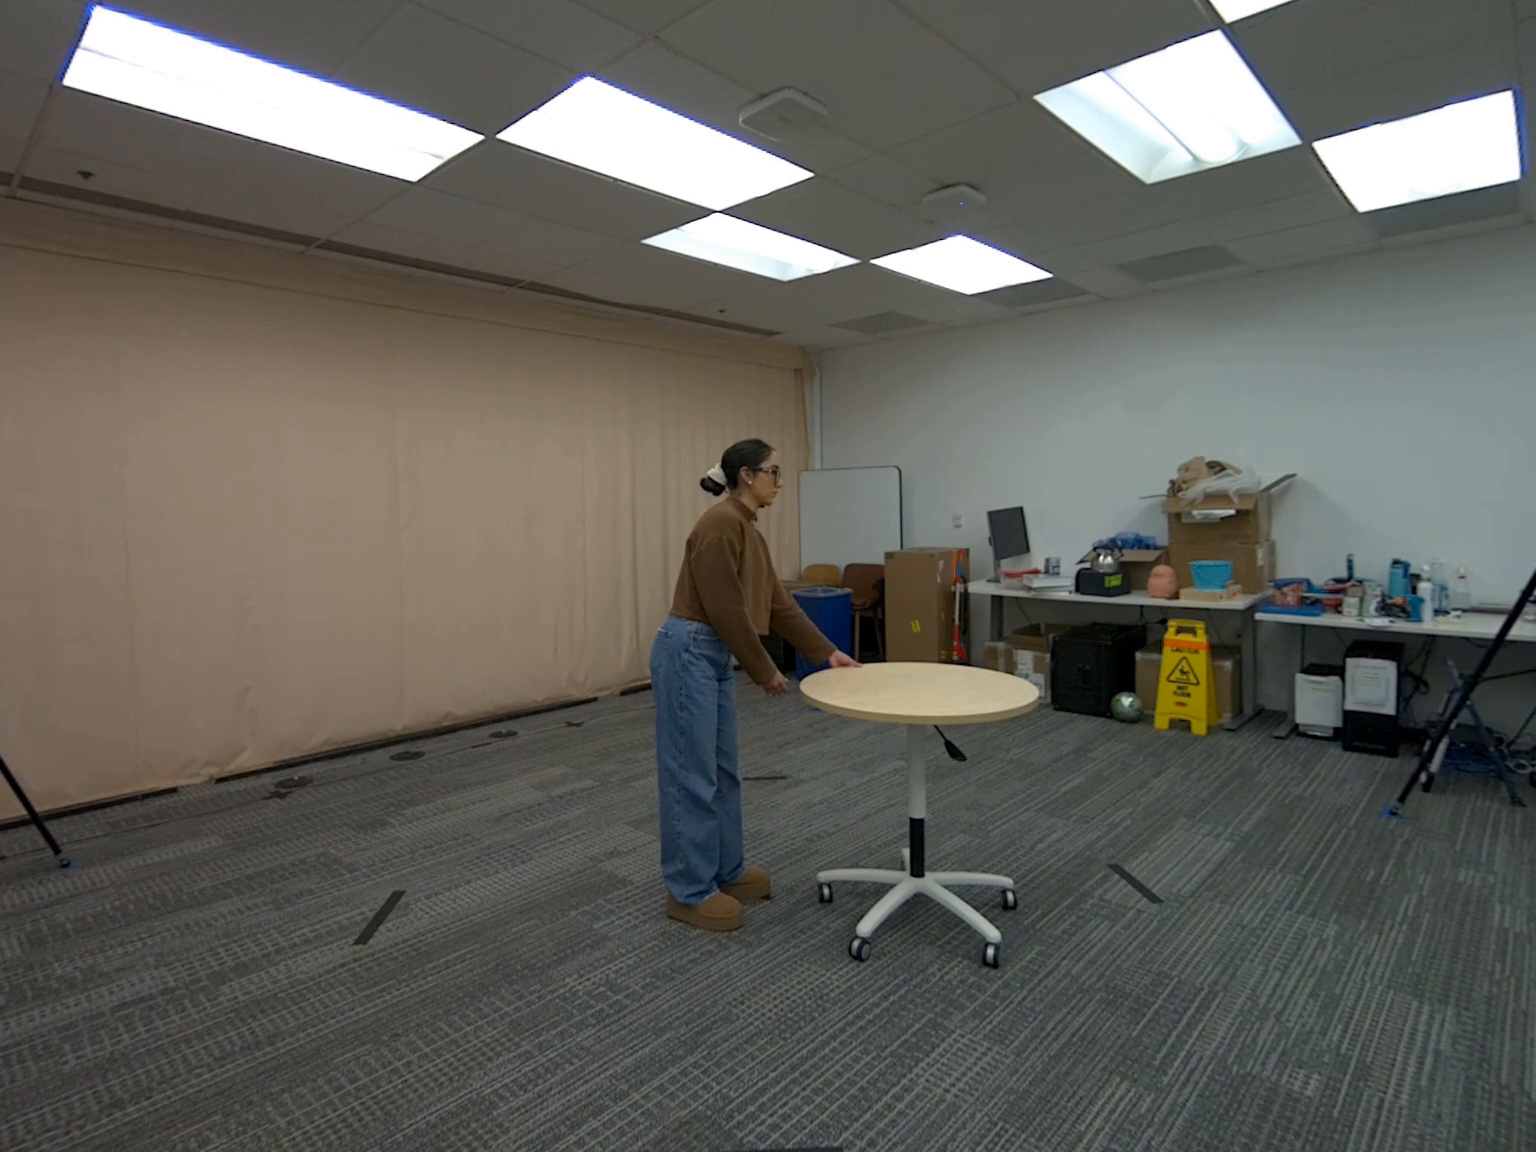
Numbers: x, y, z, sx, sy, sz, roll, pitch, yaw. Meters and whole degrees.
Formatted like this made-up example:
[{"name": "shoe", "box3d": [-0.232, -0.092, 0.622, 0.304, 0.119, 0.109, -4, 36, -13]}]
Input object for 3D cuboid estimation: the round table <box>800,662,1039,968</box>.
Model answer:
[{"name": "round table", "box3d": [0.511, 0.756, 2.790, 0.784, 0.785, 0.788, -2, 4, -2]}]
